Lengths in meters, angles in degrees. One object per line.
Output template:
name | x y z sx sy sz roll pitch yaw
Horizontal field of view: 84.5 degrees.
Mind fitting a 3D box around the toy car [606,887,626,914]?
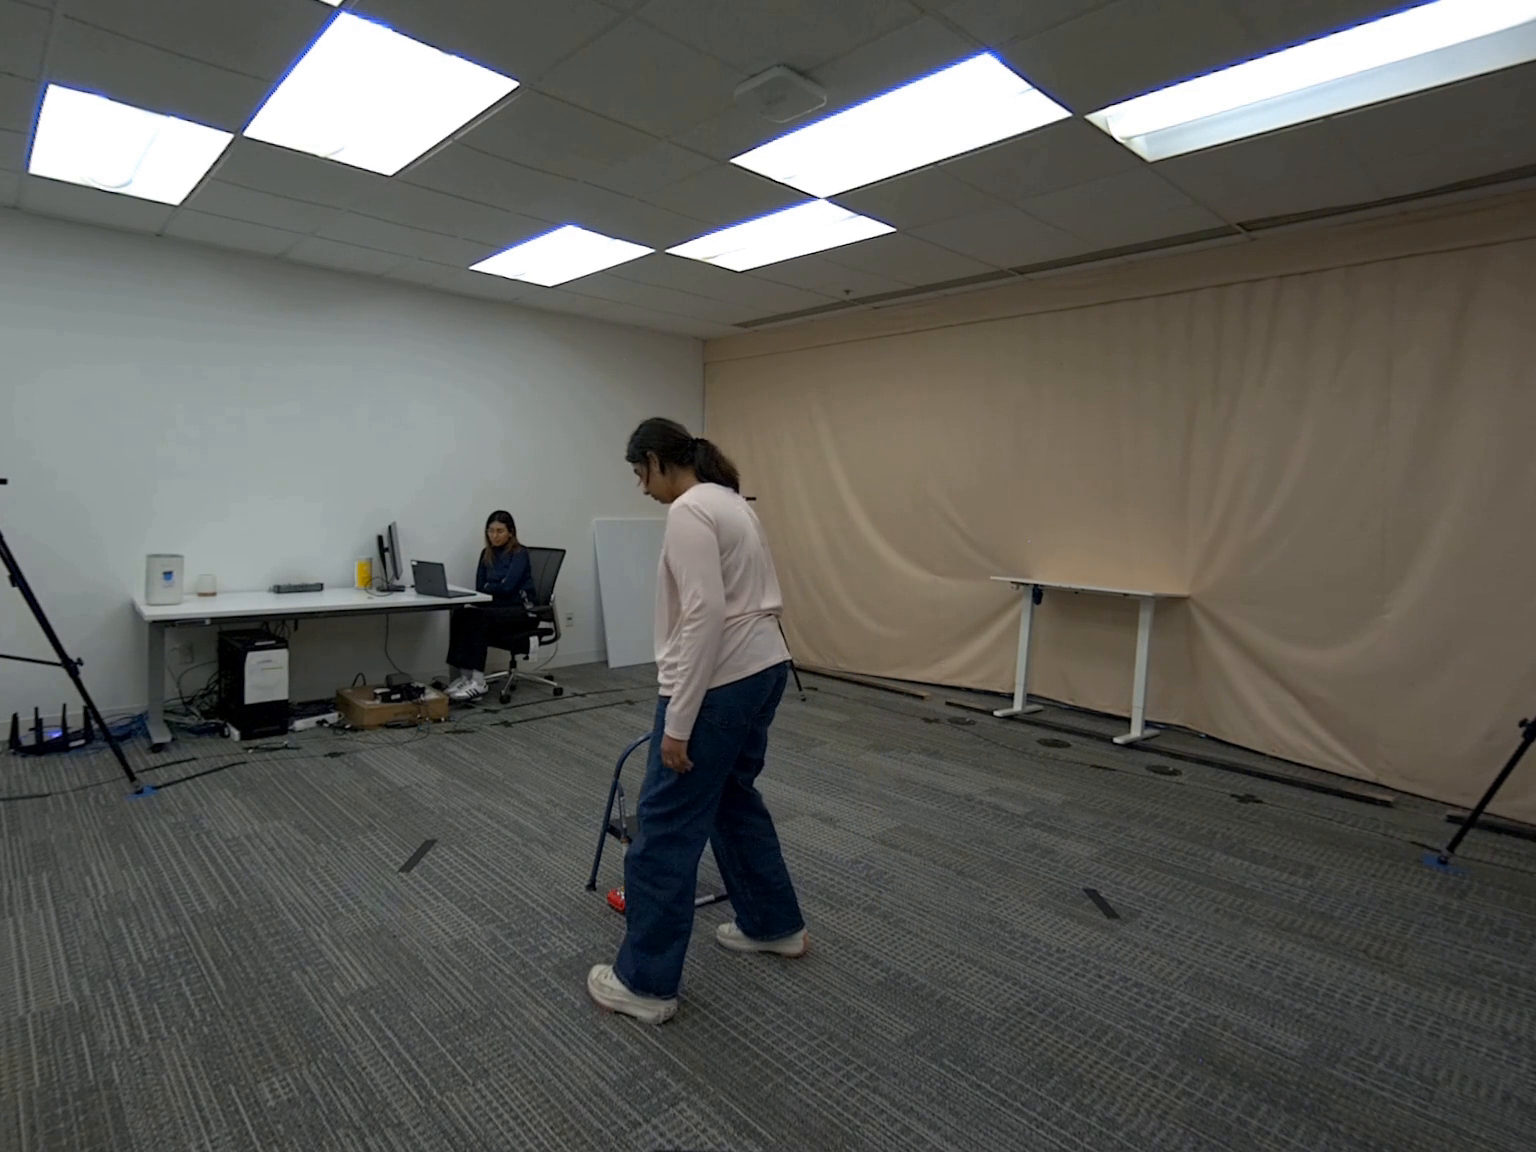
toy car | -0.420 1.086 2.893 0.250 0.082 0.133 -17 15 -40
